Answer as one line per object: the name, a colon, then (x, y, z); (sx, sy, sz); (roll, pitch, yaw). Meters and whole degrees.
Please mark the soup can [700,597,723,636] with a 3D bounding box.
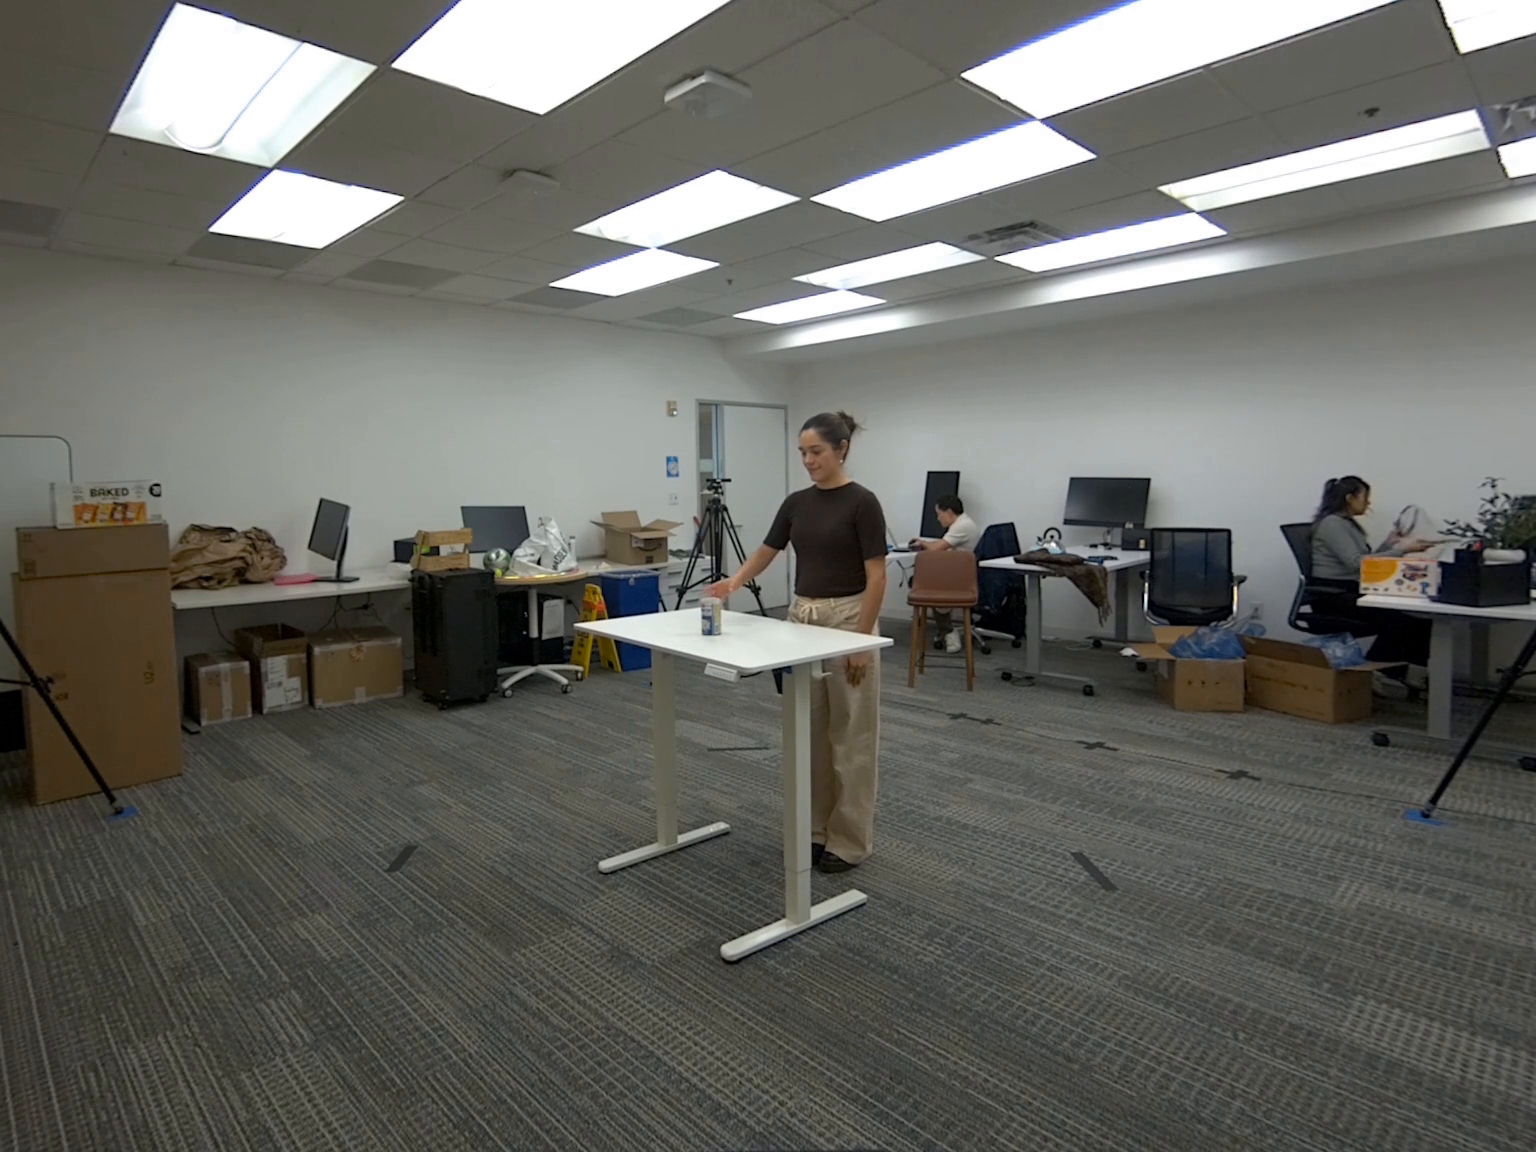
soup can: (-0.183, 0.137, 2.831); (0.067, 0.121, 0.067); (-2, 4, -1)
